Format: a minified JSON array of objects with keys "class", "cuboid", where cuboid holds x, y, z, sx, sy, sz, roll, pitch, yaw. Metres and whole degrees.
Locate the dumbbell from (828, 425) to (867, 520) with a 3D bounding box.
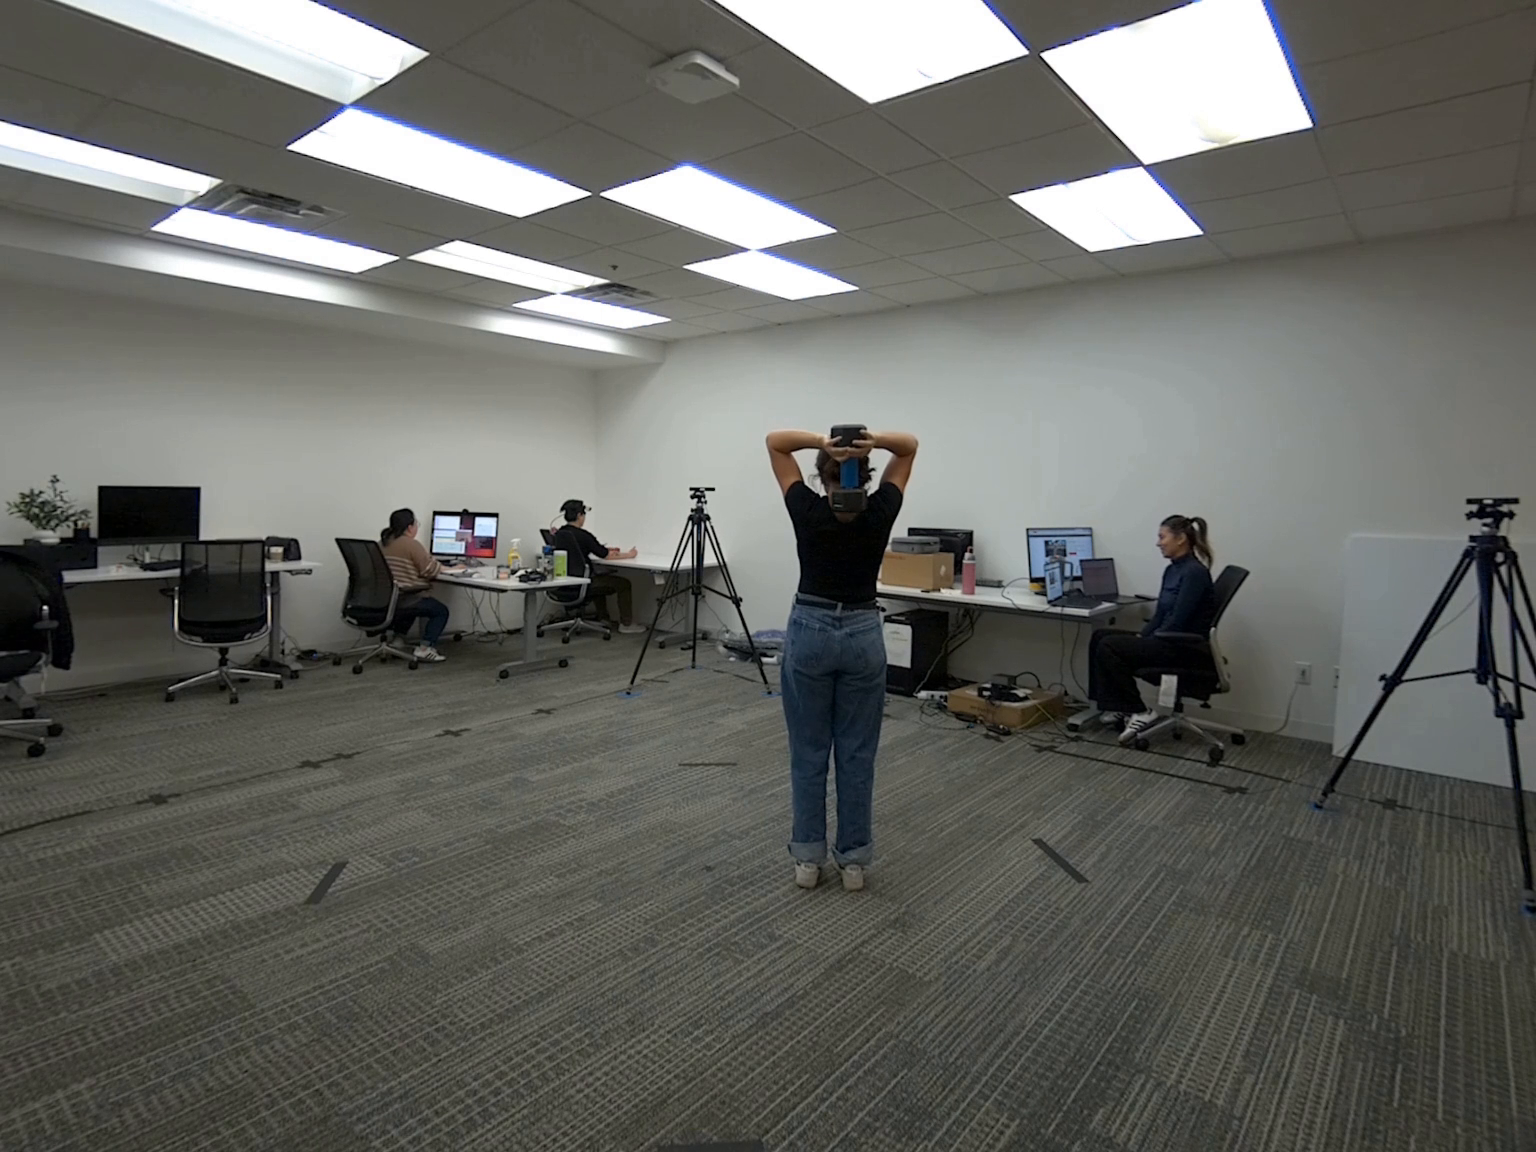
[{"class":"dumbbell","cuboid":[0.264,-0.371,2.846,0.111,0.292,0.120,3,6,25]}]
